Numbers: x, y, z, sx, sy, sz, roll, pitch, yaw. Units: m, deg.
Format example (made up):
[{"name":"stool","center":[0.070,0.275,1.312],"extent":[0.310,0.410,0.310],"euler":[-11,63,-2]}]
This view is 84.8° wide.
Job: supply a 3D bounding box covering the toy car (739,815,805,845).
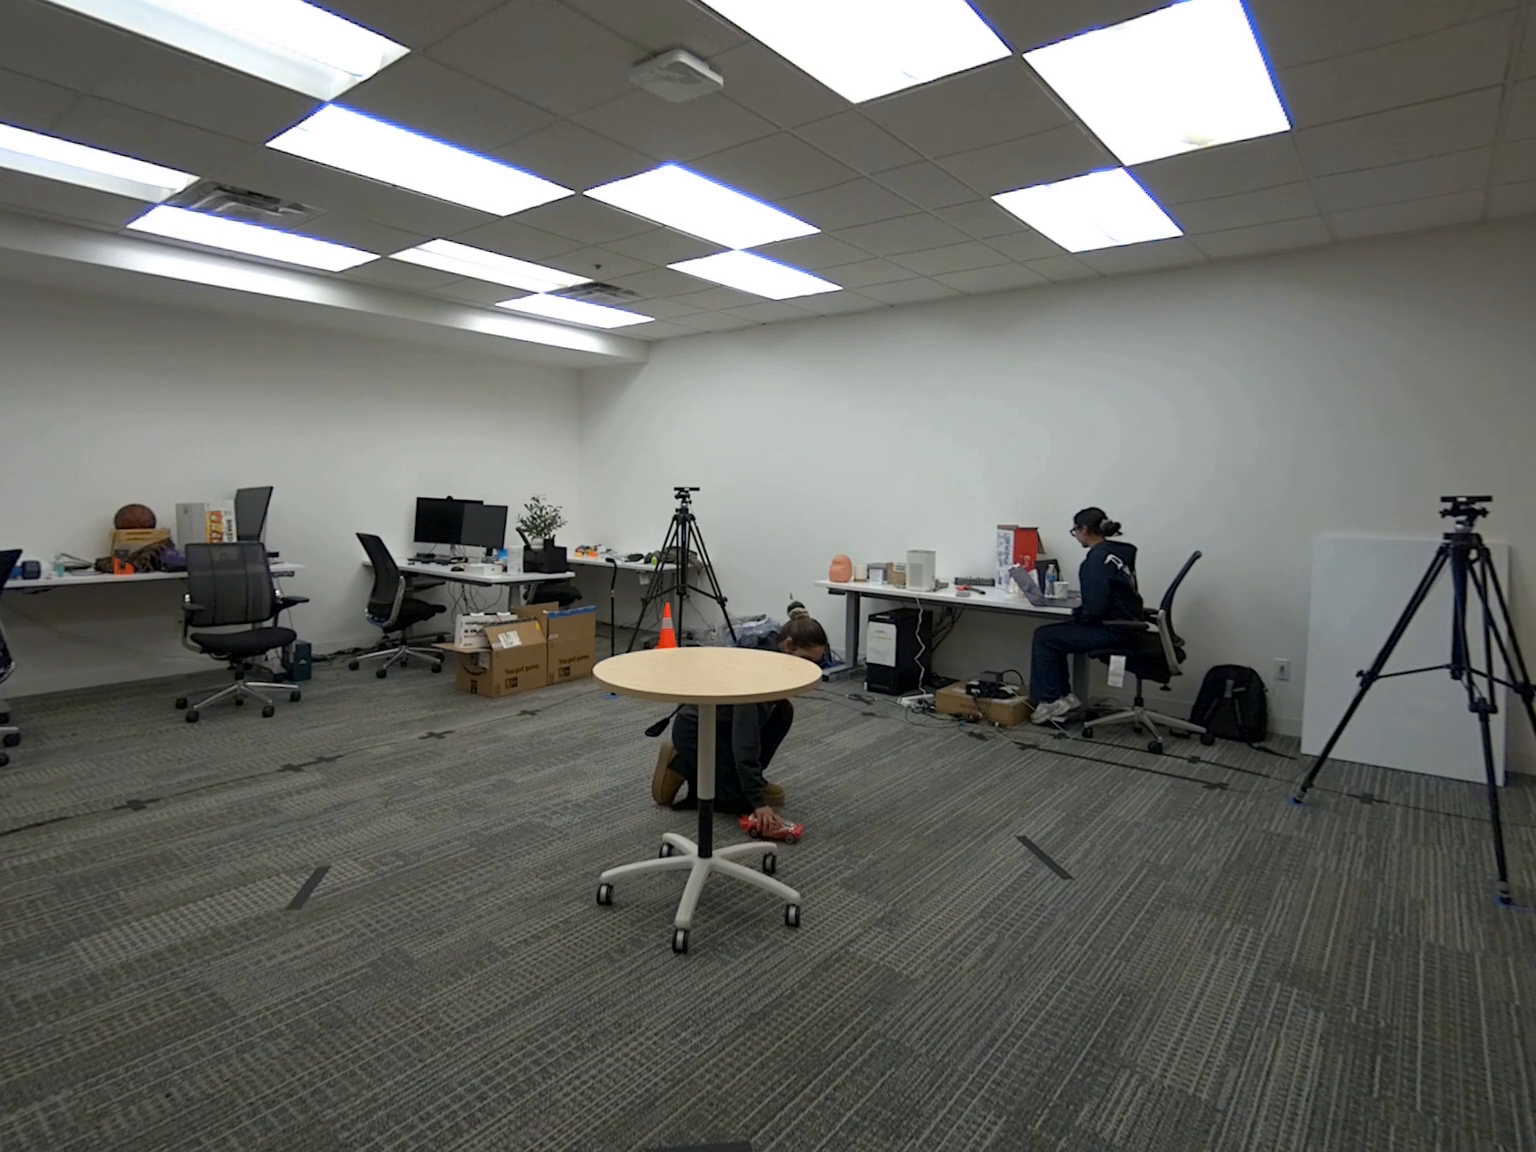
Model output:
[{"name":"toy car","center":[-0.004,1.008,3.423],"extent":[0.260,0.083,0.128],"euler":[14,9,18]}]
